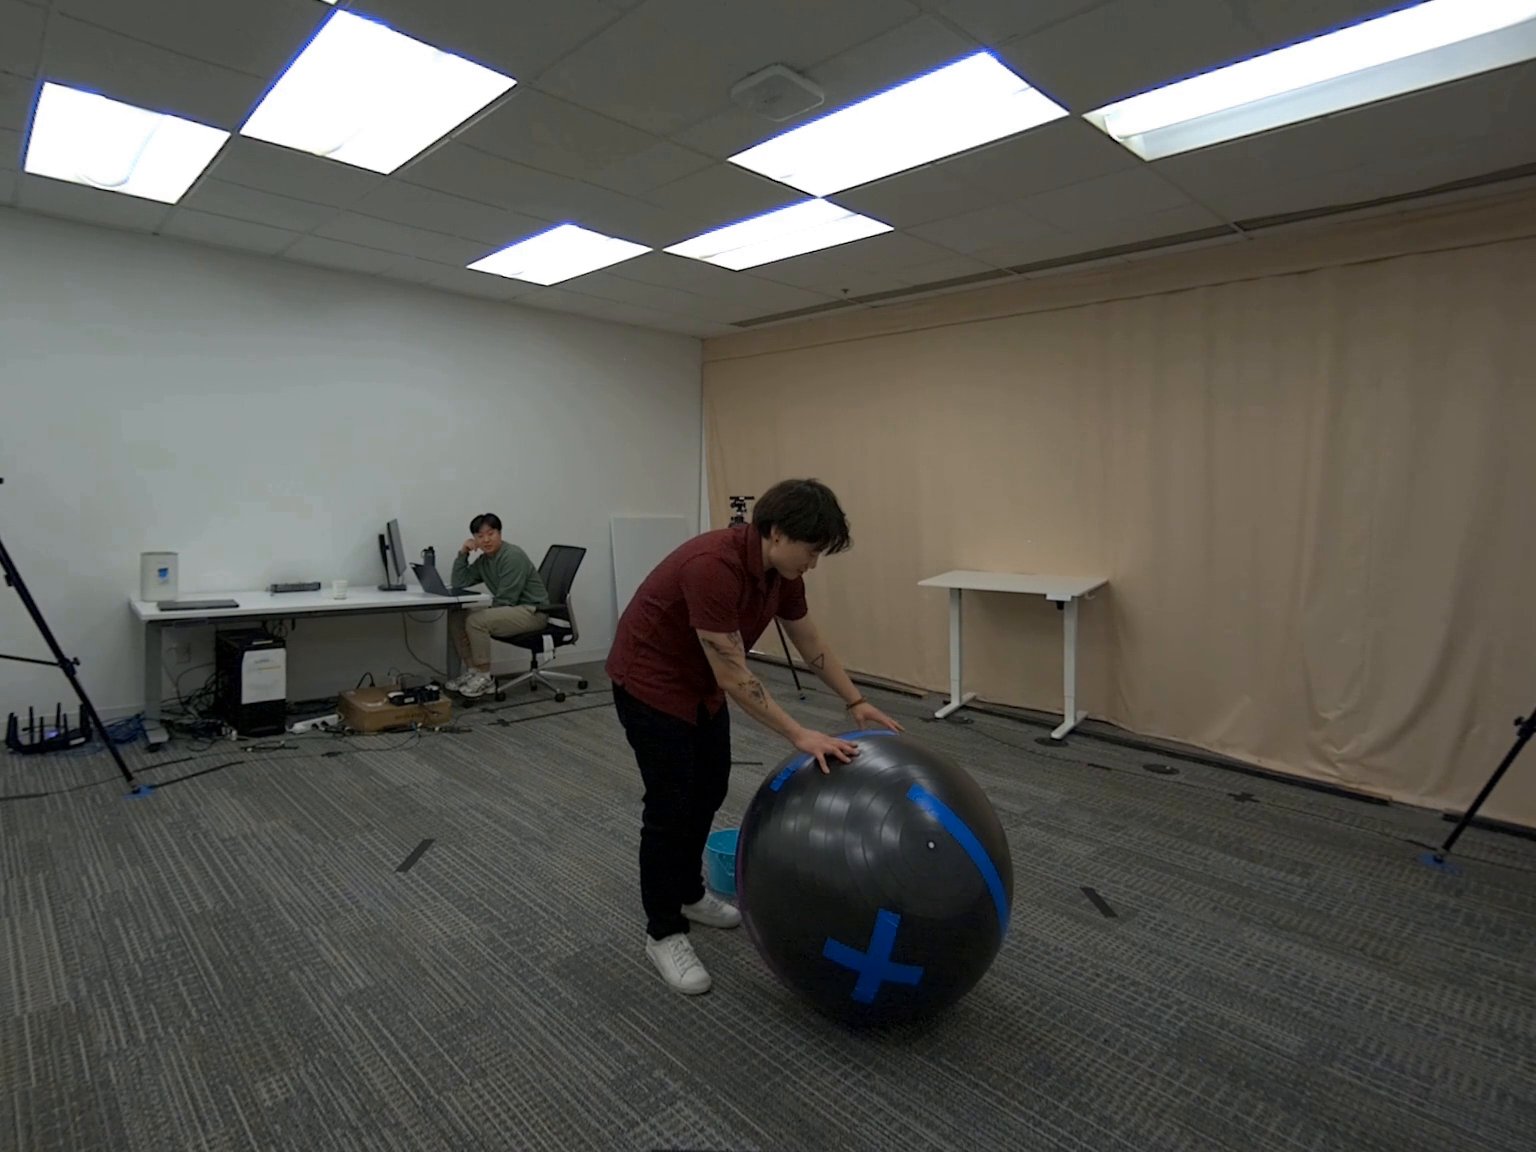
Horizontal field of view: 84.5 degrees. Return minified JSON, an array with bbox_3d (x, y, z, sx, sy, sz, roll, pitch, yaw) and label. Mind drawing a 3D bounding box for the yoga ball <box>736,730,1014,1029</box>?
[{"bbox_3d":[0.290,0.823,2.339,0.757,0.756,0.761,1,4,-1],"label":"yoga ball"}]
